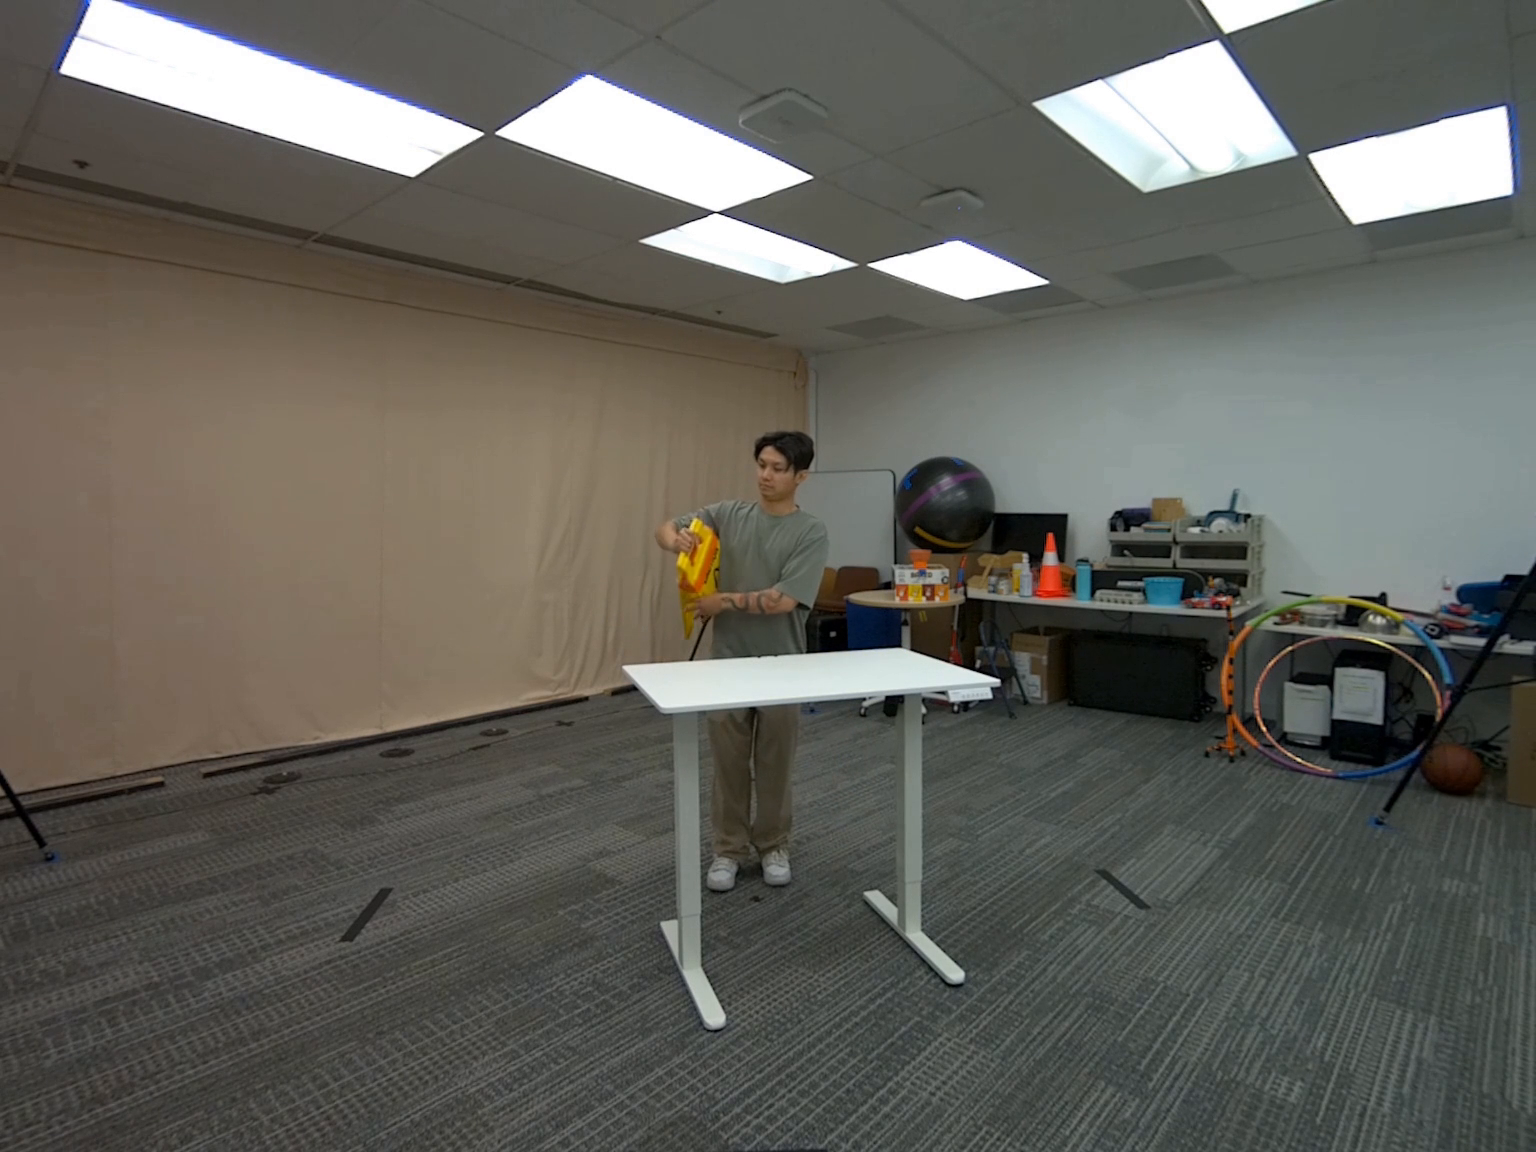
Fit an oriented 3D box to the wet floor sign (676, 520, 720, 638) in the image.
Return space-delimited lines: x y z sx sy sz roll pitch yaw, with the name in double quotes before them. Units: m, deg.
"wet floor sign" -0.244 0.012 3.229 0.295 0.284 0.630 12 -23 15
